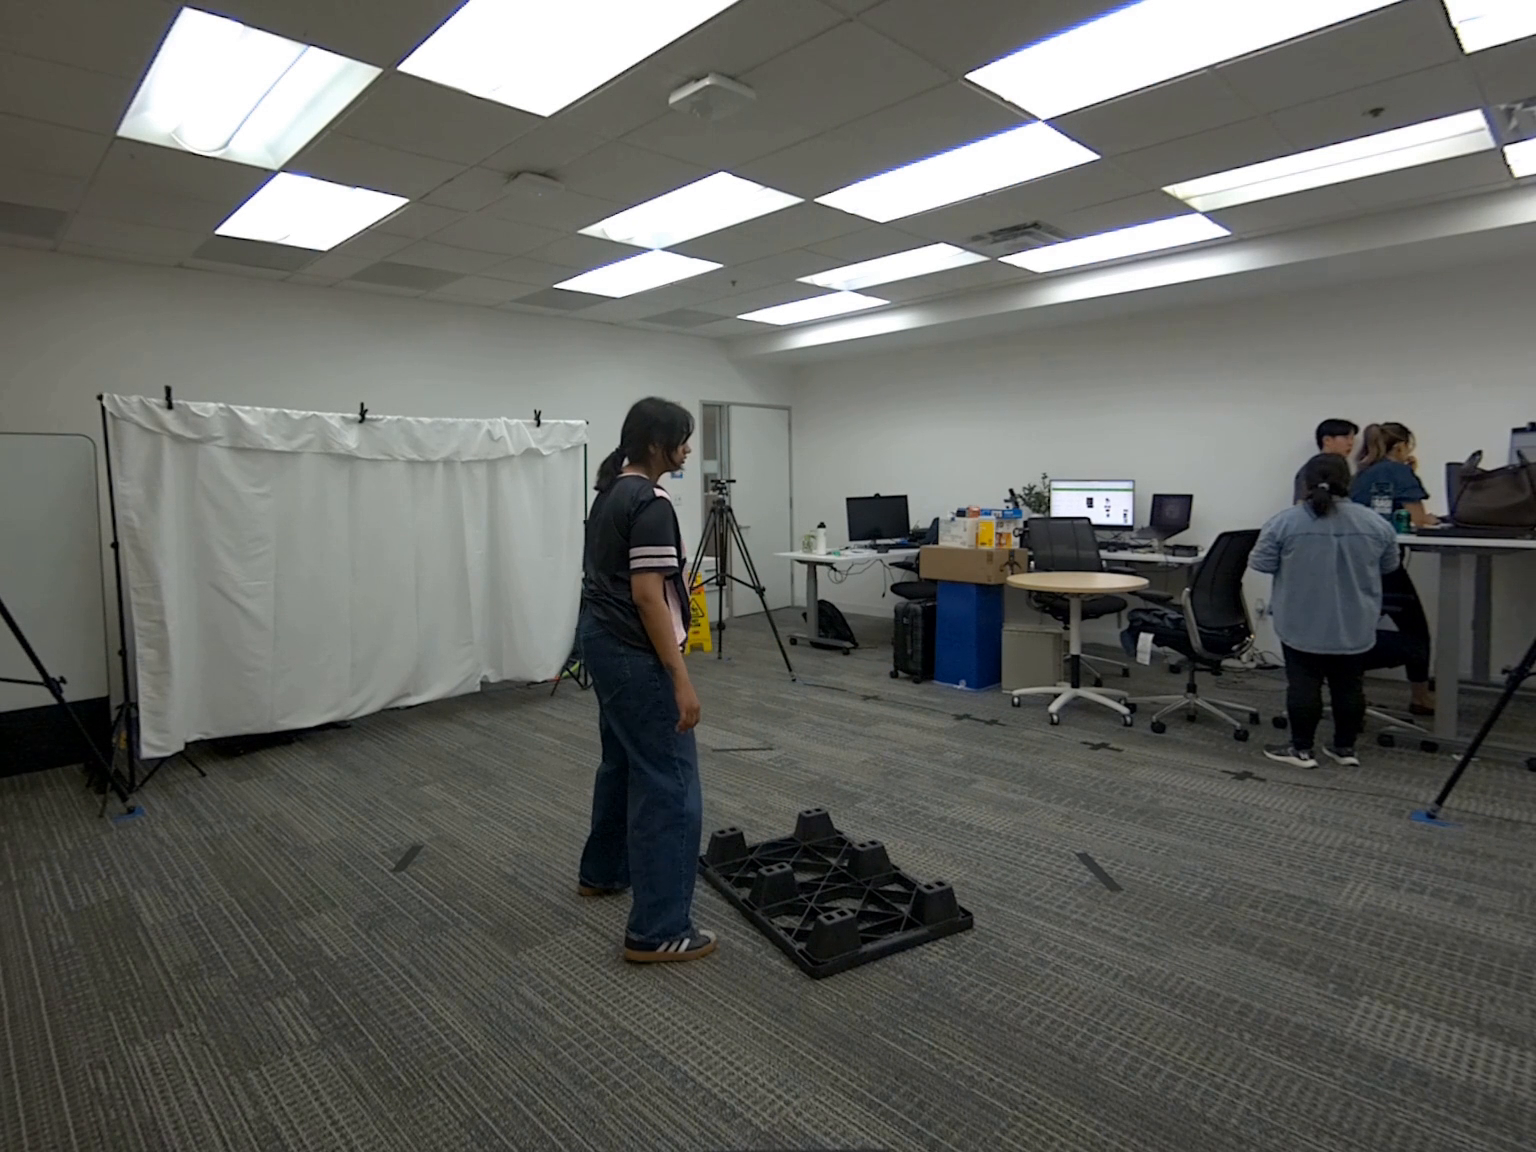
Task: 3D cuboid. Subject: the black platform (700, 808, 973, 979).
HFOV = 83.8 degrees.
[{"bbox_3d":[0.181,1.004,2.865,0.591,0.143,0.828,-4,7,-29],"label":"black platform"}]
